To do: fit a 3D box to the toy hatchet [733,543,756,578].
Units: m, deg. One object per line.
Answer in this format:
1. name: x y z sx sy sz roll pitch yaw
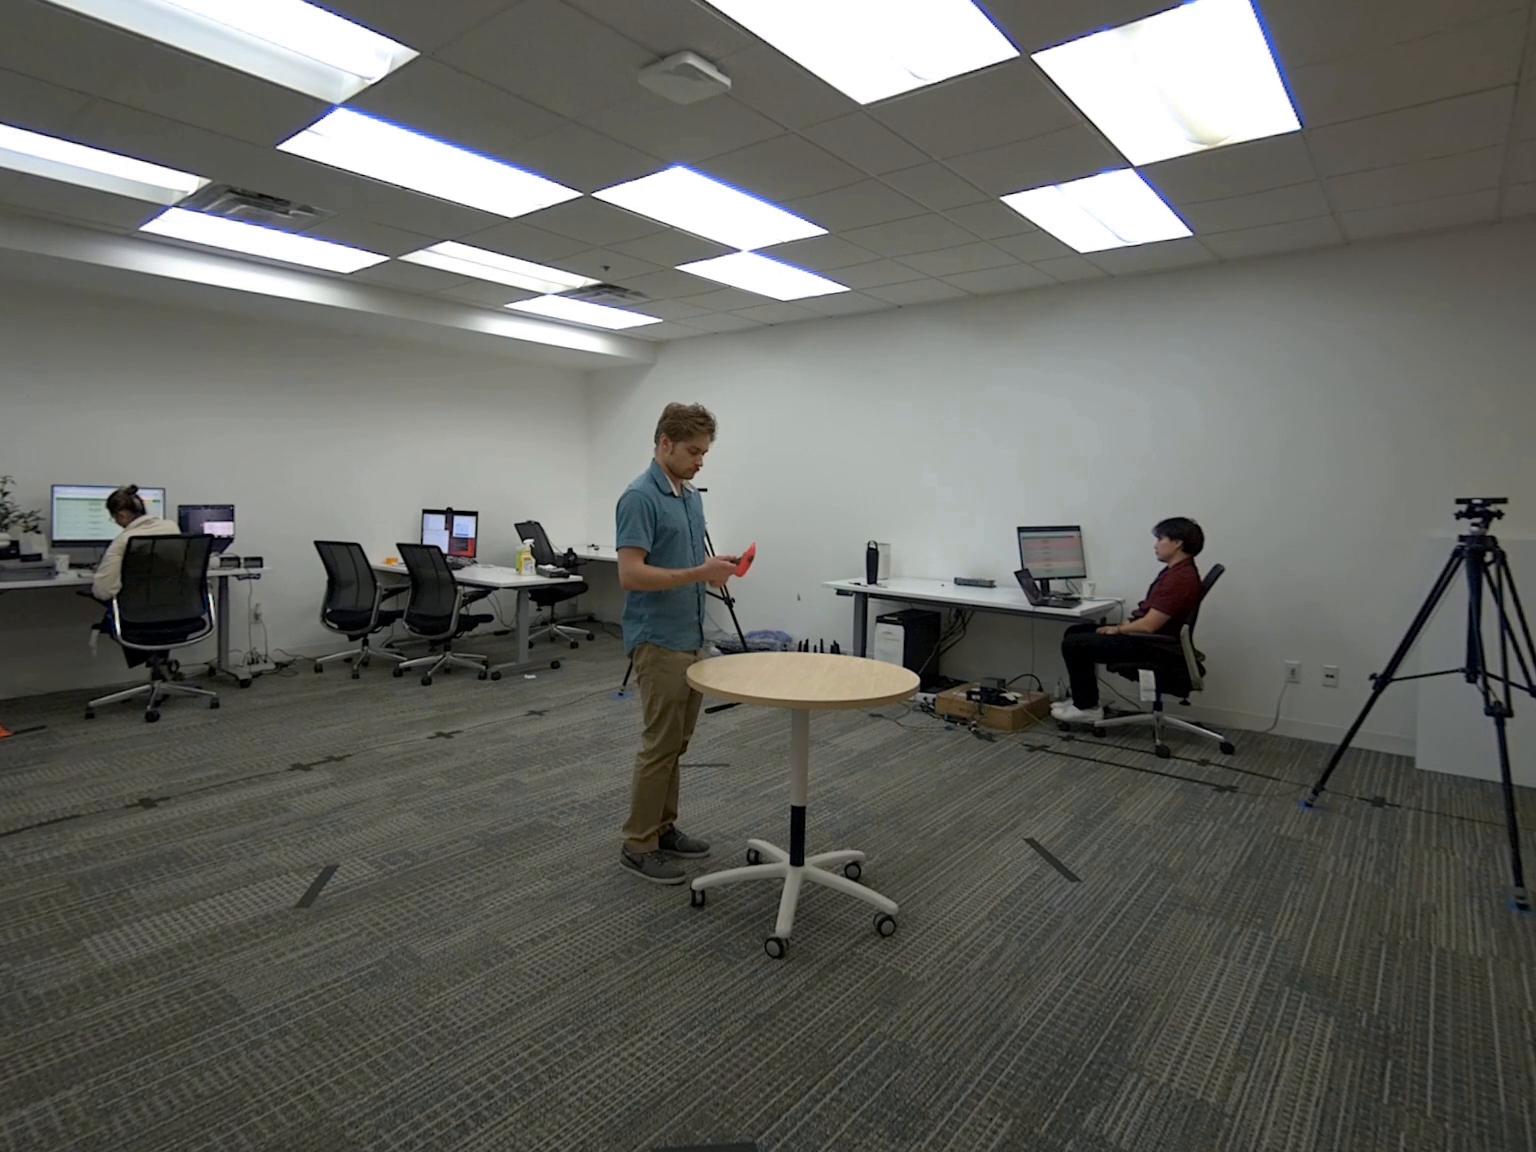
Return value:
1. toy hatchet: -0.134 -0.017 2.969 0.029 0.134 0.271 22 -36 -23
